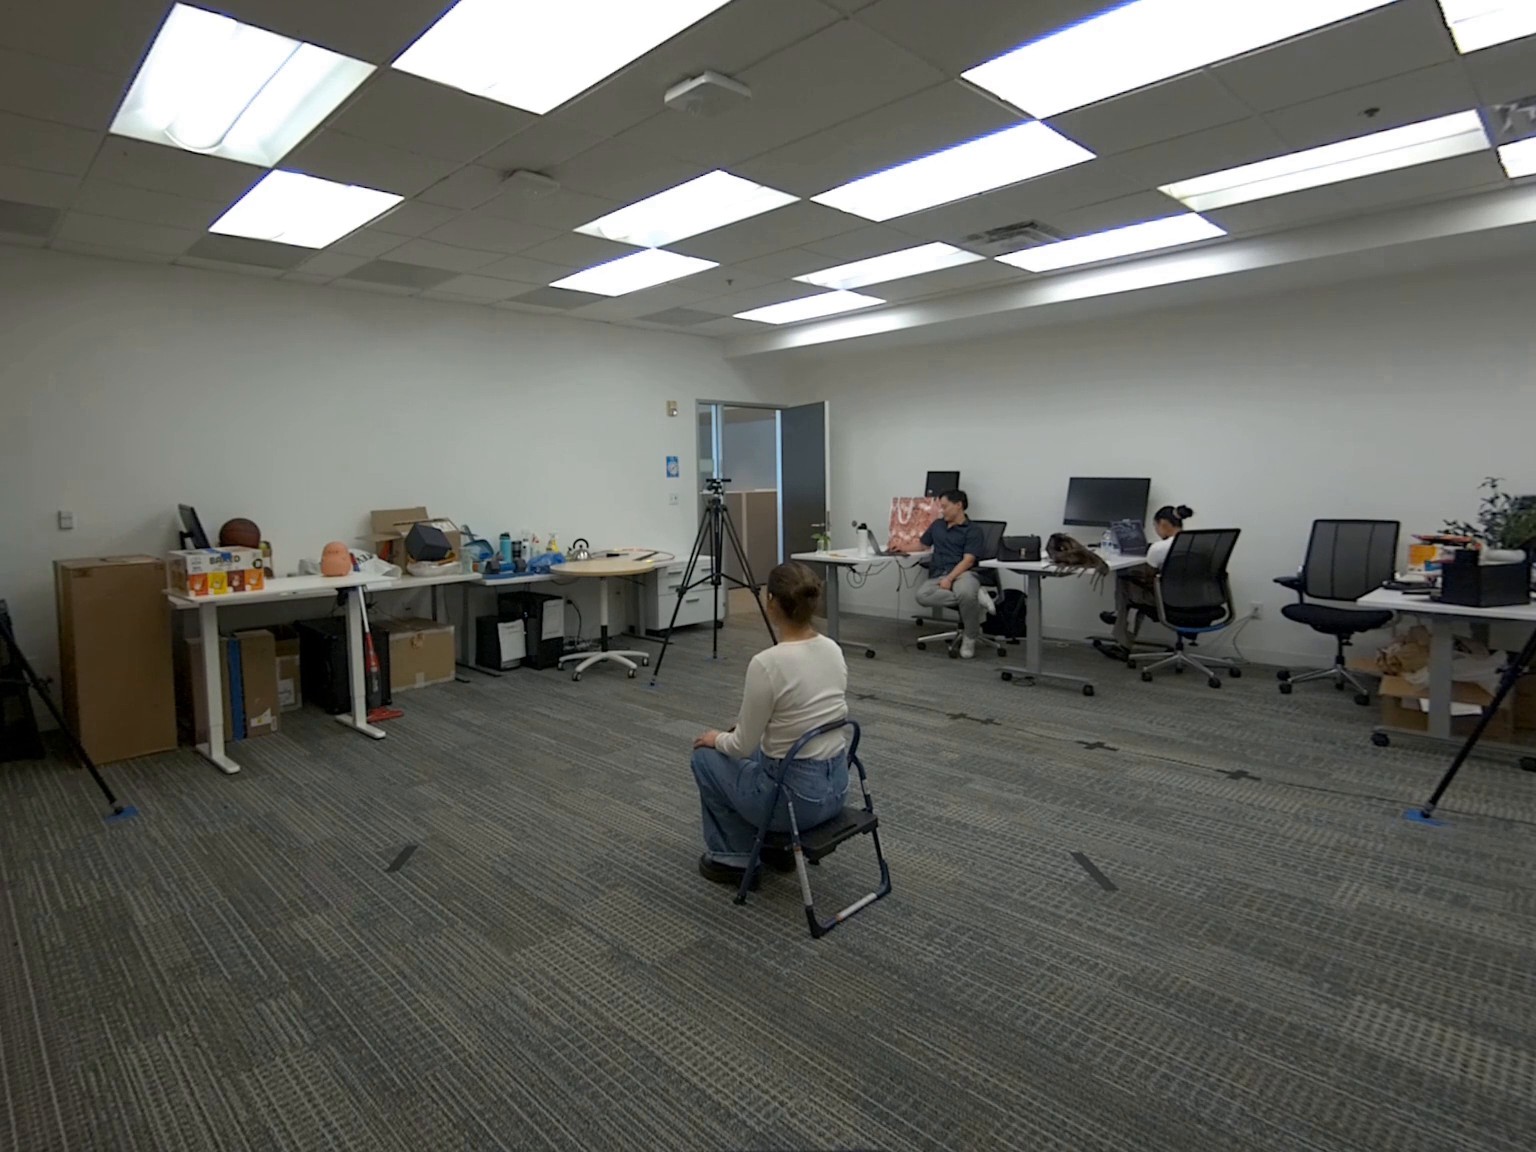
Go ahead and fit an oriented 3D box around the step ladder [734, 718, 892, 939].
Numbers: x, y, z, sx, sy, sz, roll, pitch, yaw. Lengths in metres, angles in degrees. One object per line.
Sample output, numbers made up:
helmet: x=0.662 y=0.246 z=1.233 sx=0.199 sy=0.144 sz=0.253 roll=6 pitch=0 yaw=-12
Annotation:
step ladder: x=0.154 y=0.768 z=2.827 sx=0.360 sy=0.604 sz=0.419 roll=3 pitch=6 yaw=42
